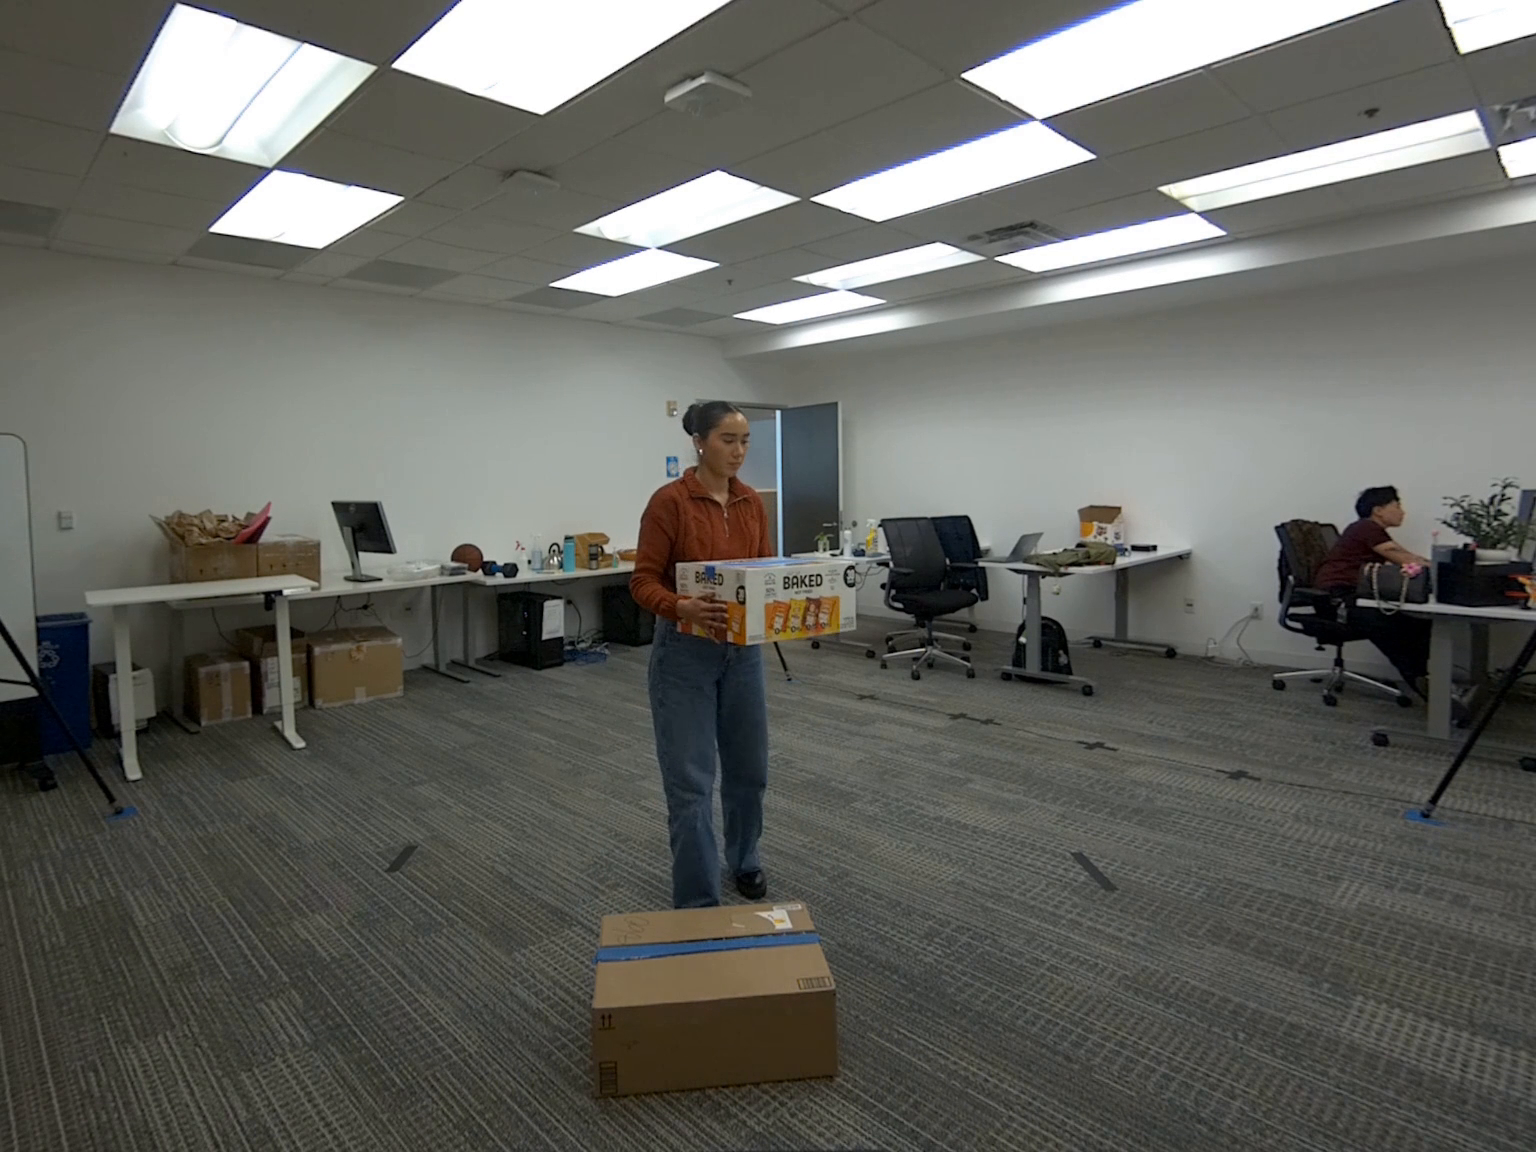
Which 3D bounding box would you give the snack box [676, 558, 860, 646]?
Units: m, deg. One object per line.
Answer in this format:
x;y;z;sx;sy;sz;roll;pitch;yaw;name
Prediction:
-0.014;0.063;2.492;0.394;0.205;0.350;-4;5;-37;snack box
